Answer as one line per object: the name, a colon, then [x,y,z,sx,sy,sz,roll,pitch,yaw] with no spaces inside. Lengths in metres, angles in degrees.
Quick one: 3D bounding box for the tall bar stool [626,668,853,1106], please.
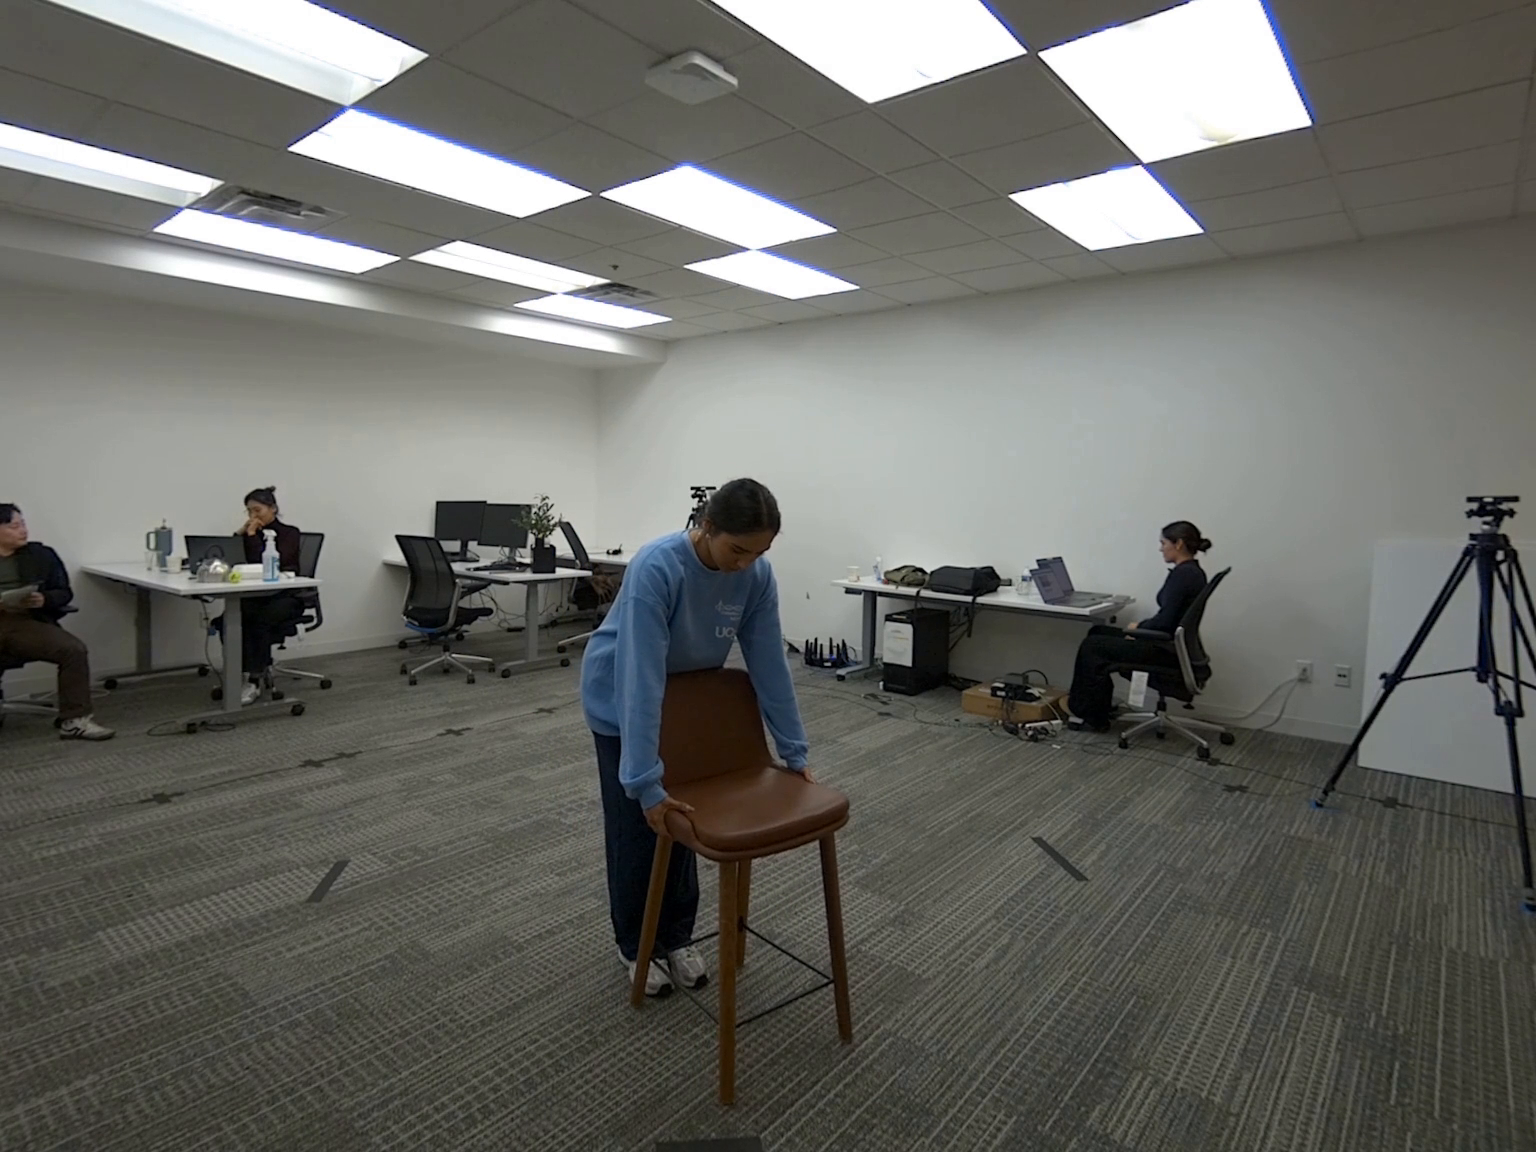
tall bar stool: [-0.081,0.721,2.187,0.443,0.888,0.483,-2,3,-39]
